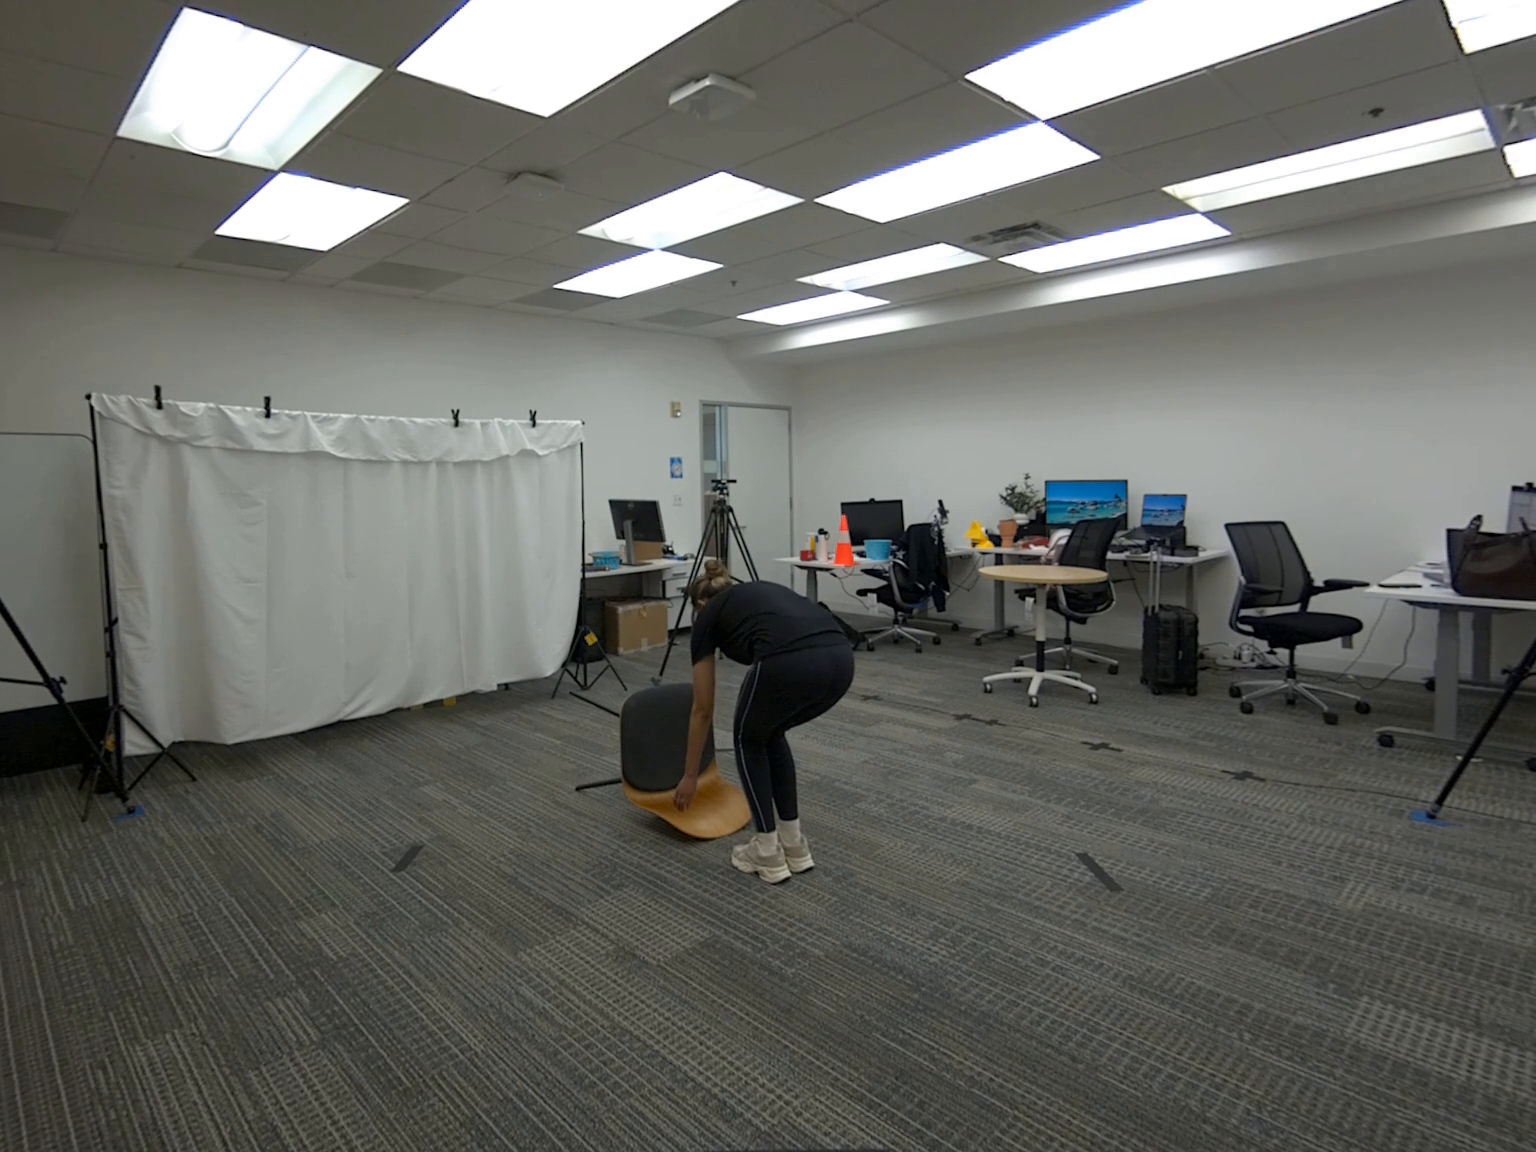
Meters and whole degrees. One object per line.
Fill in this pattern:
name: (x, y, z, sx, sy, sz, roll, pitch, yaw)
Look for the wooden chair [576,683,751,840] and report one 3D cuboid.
wooden chair: (-0.447, 0.728, 3.673, 0.466, 0.521, 0.904, -5, 7, -38)
